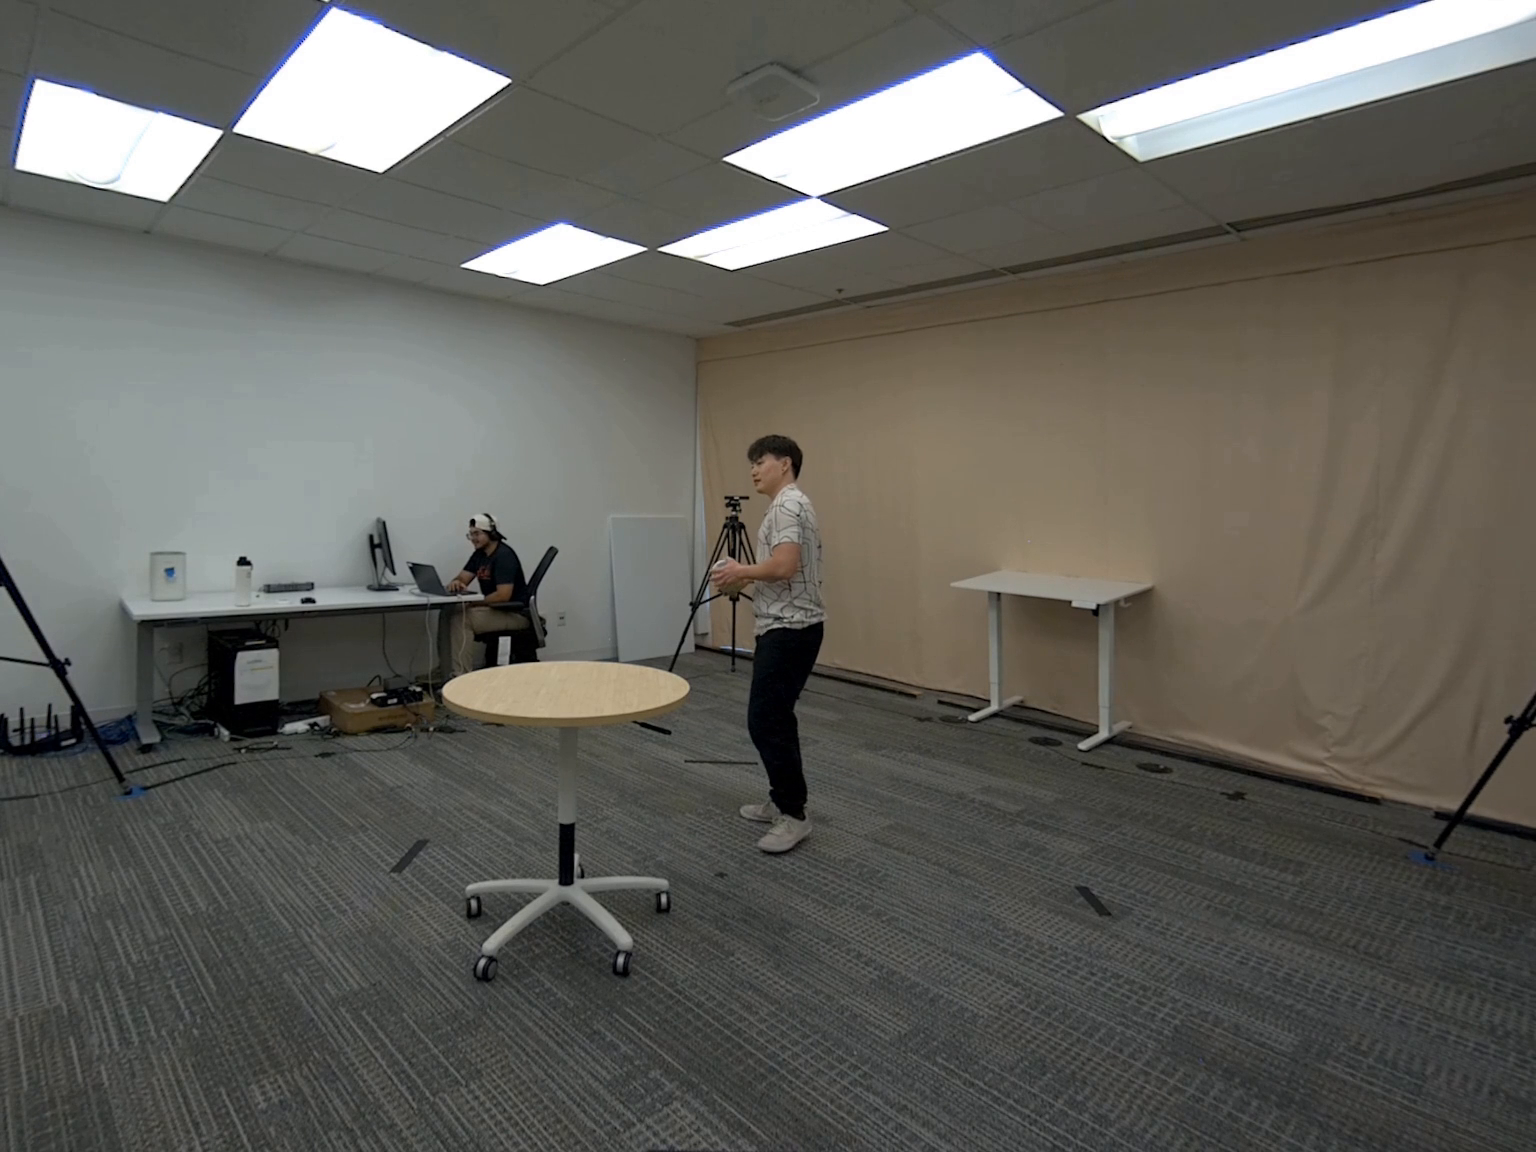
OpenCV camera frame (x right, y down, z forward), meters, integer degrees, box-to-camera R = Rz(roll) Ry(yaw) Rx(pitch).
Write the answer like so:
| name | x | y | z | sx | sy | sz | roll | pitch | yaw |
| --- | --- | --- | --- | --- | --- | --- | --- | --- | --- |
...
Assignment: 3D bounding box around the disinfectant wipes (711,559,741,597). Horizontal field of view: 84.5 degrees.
| name | x | y | z | sx | sy | sz | roll | pitch | yaw |
| --- | --- | --- | --- | --- | --- | --- | --- | --- | --- |
| disinfectant wipes | -0.179 | 0.009 | 3.605 | 0.118 | 0.119 | 0.215 | 2 | -12 | 0 |
